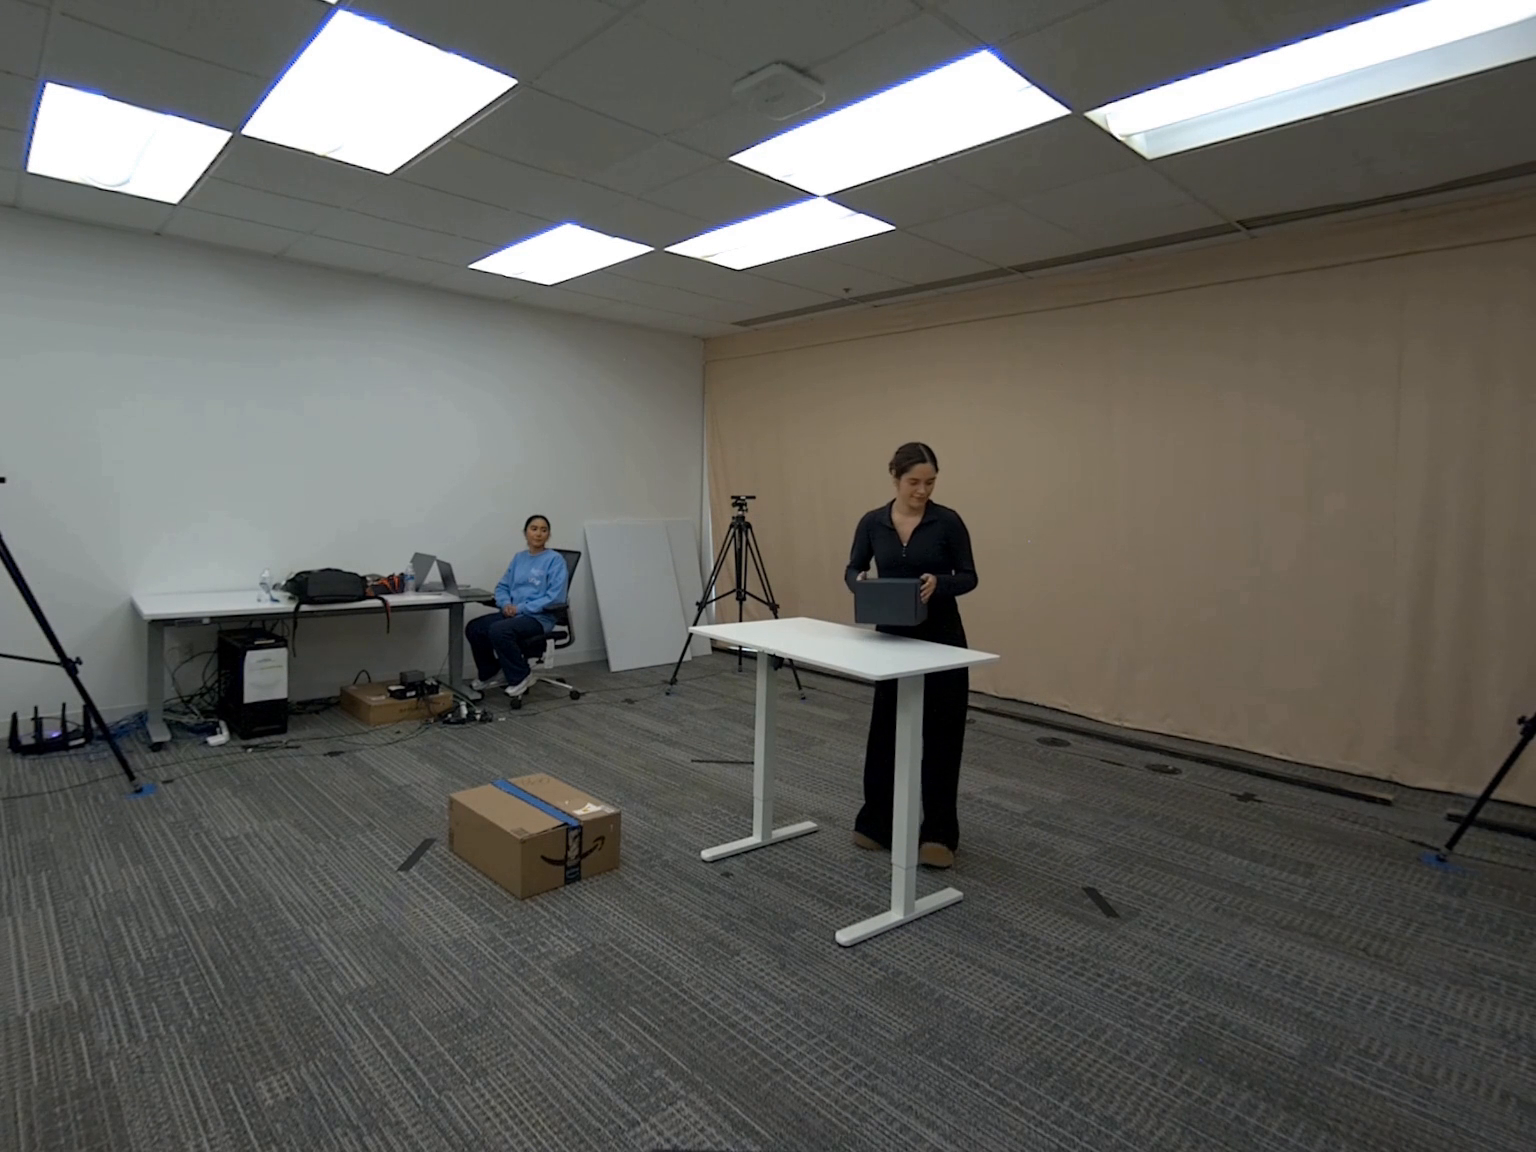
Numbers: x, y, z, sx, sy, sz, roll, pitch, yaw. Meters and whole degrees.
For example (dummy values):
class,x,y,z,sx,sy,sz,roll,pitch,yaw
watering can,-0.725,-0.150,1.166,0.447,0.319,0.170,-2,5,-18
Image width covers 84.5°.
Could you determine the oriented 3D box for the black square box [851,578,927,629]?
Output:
class,x,y,z,sx,sy,sz,roll,pitch,yaw
black square box,0.464,0.093,3.134,0.232,0.155,0.214,0,3,22
